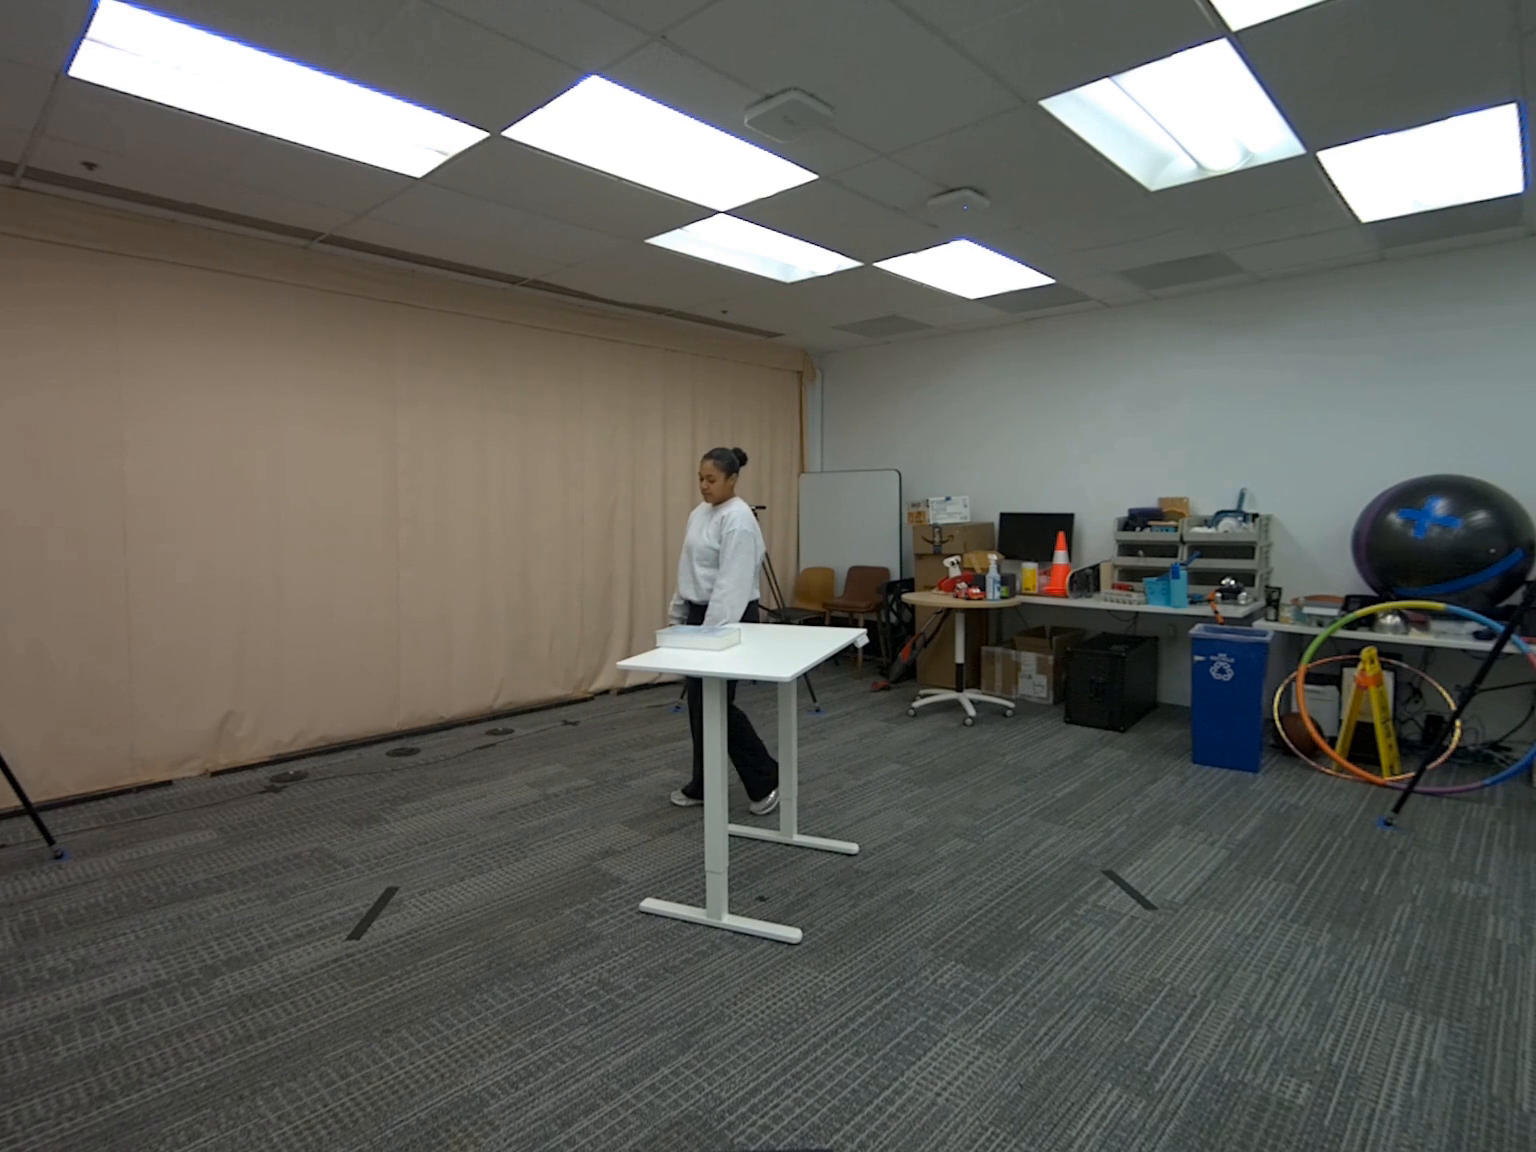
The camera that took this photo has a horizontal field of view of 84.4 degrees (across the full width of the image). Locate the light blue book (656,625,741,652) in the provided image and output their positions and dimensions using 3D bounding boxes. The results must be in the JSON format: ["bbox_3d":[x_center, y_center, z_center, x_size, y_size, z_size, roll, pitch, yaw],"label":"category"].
[{"bbox_3d":[-0.258,0.224,3.100,0.268,0.059,0.187,1,6,25],"label":"light blue book"}]
